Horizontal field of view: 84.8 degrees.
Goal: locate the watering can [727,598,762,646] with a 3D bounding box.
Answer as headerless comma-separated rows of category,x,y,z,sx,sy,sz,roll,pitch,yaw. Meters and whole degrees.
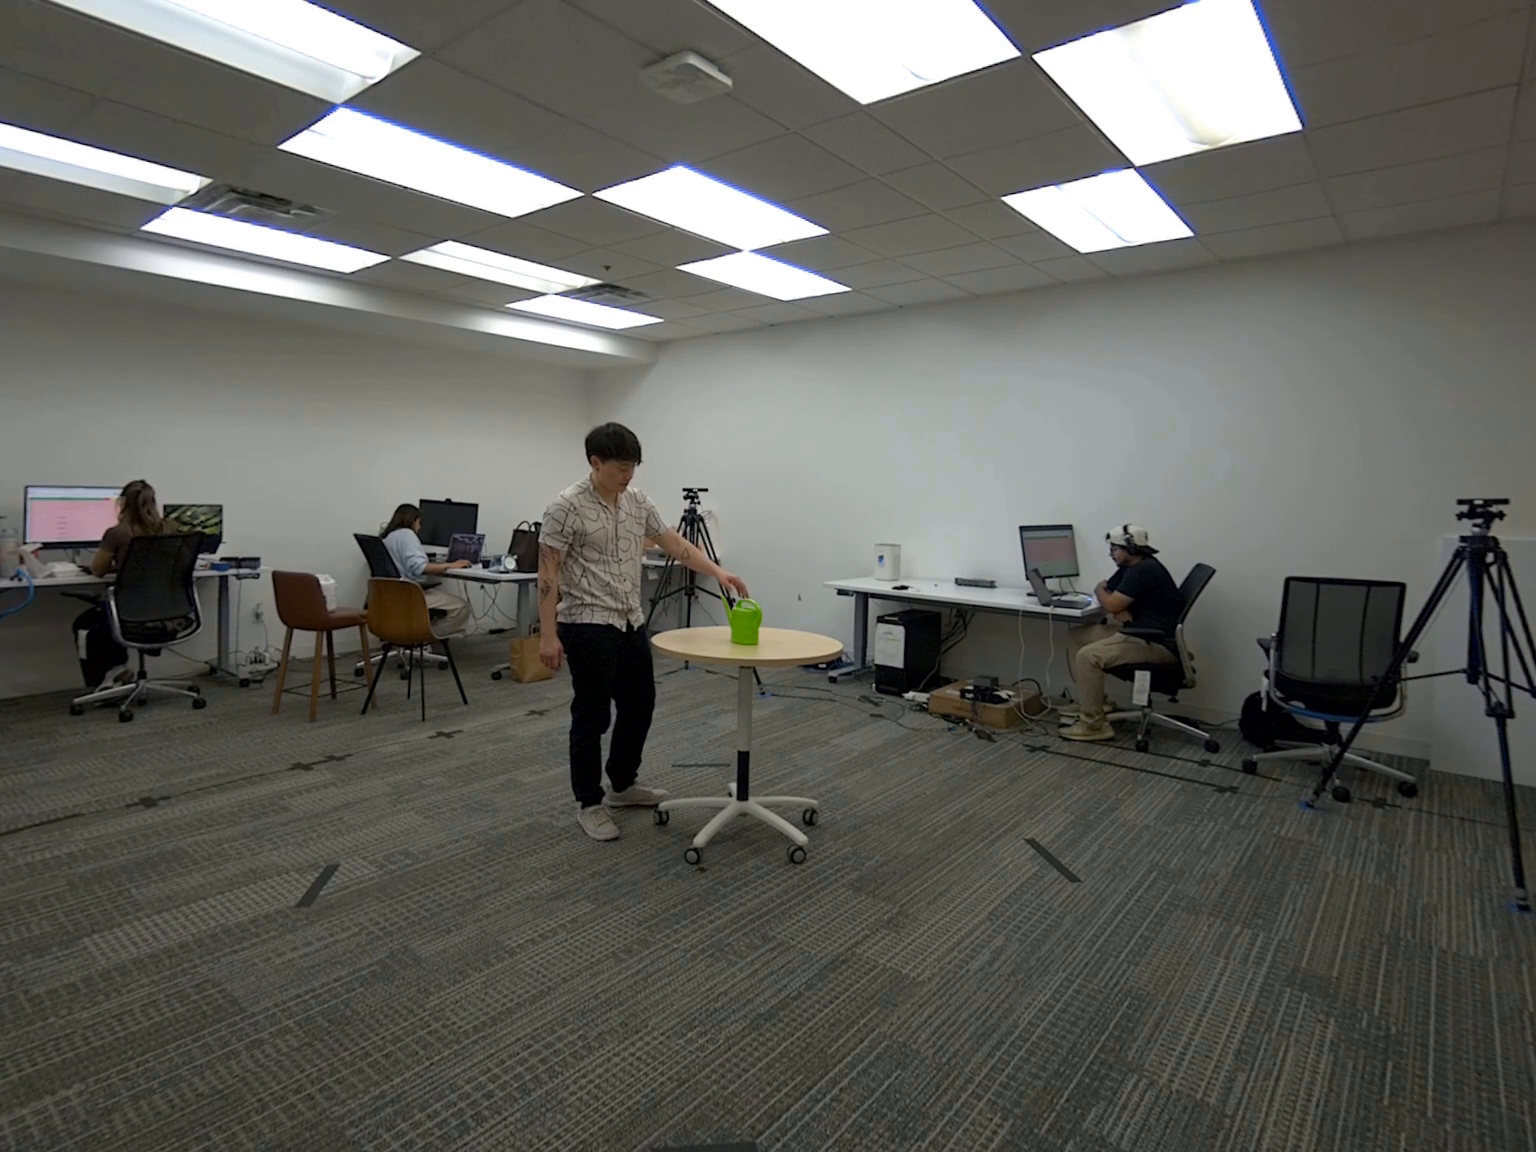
watering can,-0.119,0.167,3.416,0.096,0.176,0.285,0,6,-20
